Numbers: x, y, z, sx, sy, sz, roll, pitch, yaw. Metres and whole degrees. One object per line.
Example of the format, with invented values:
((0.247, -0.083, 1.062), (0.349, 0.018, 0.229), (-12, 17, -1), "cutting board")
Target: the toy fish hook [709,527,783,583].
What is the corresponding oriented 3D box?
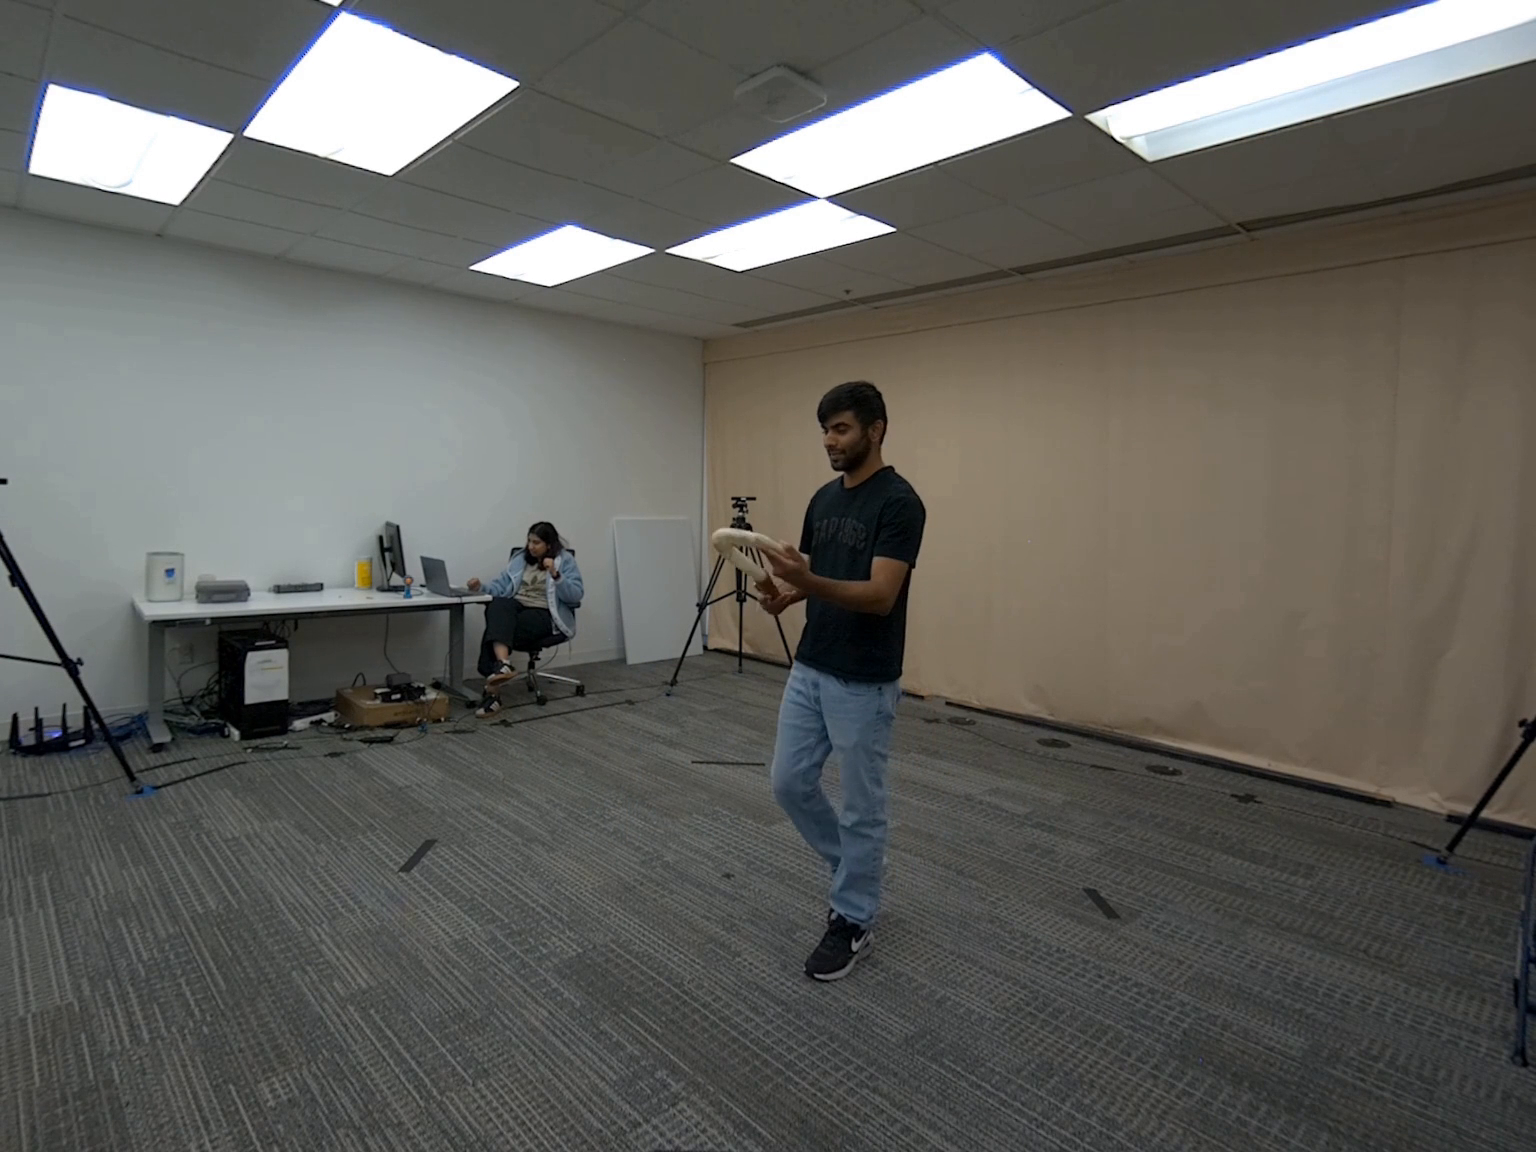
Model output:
((0.006, -0.008, 2.327), (0.229, 0.048, 0.493), (17, -16, 21), "toy fish hook")
